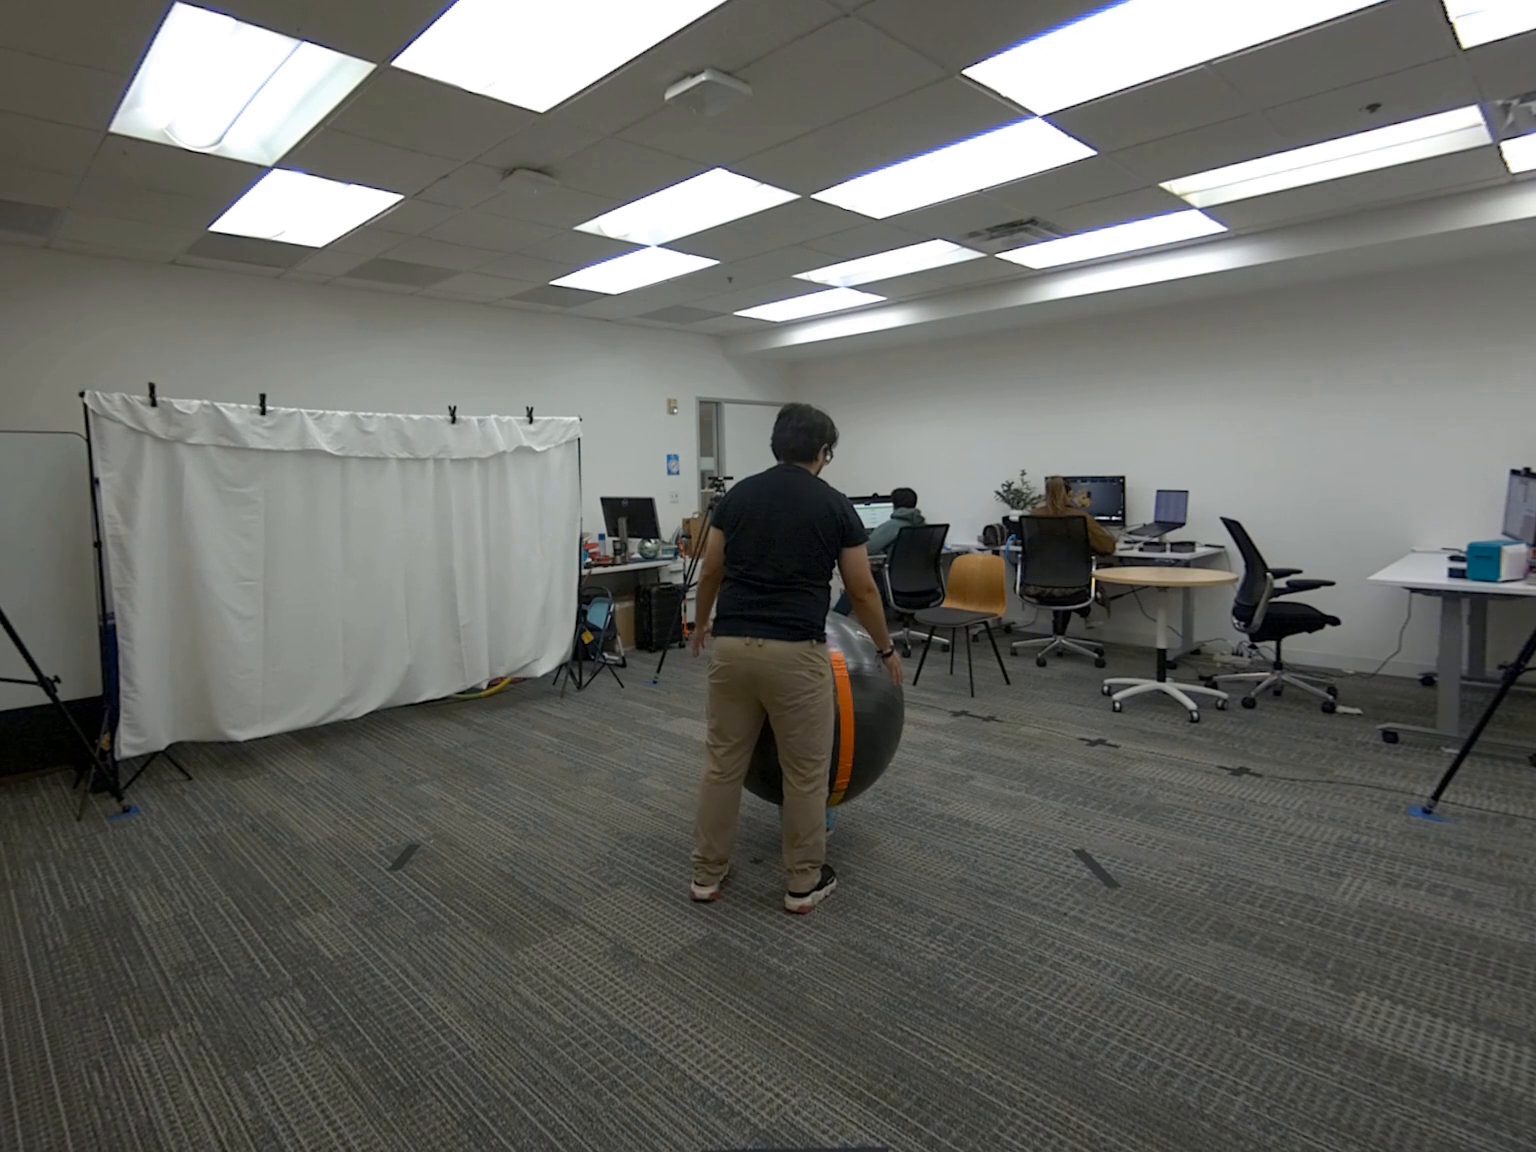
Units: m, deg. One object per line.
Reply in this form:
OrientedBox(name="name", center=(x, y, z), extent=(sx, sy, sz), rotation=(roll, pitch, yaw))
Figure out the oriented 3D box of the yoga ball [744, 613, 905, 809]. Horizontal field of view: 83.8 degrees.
OrientedBox(name="yoga ball", center=(0.144, 0.507, 3.295), extent=(0.757, 0.755, 0.762), rotation=(-1, 5, -2))
